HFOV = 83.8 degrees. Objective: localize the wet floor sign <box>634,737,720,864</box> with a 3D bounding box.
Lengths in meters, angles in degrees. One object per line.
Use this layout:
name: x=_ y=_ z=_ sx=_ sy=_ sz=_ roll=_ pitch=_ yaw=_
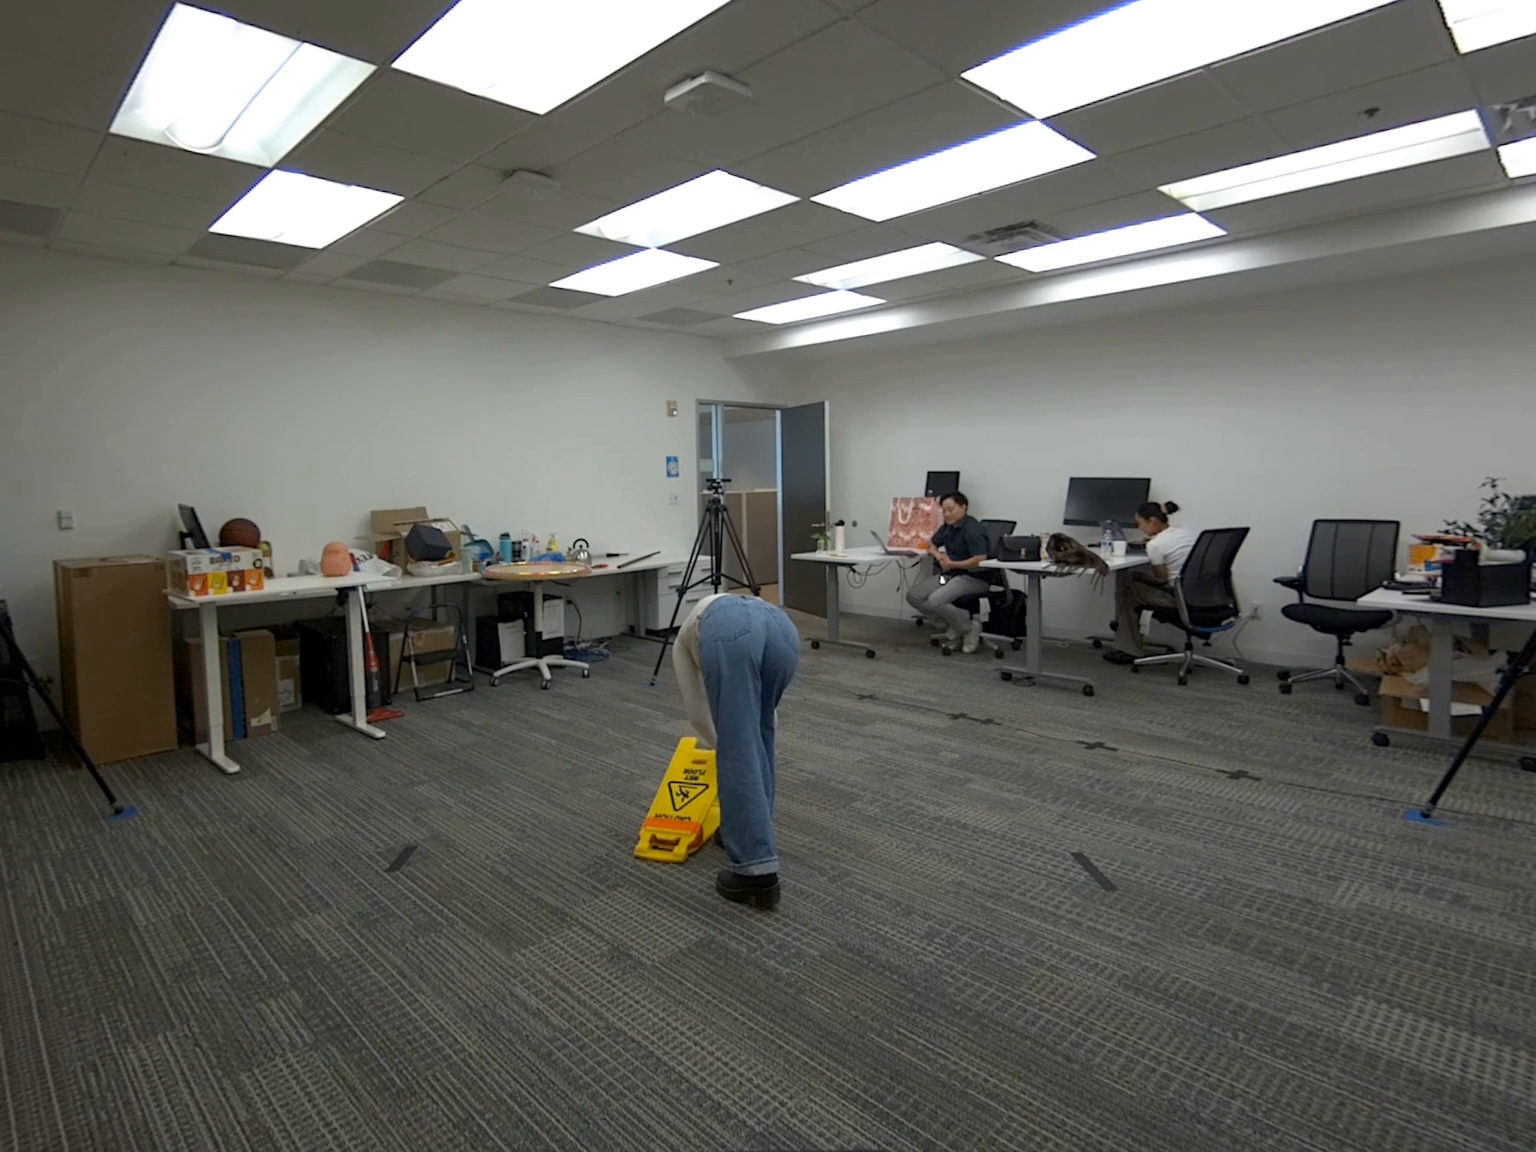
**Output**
wet floor sign: x=-0.319 y=0.924 z=3.427 sx=0.287 sy=0.285 sz=0.644 roll=-1 pitch=16 yaw=18
